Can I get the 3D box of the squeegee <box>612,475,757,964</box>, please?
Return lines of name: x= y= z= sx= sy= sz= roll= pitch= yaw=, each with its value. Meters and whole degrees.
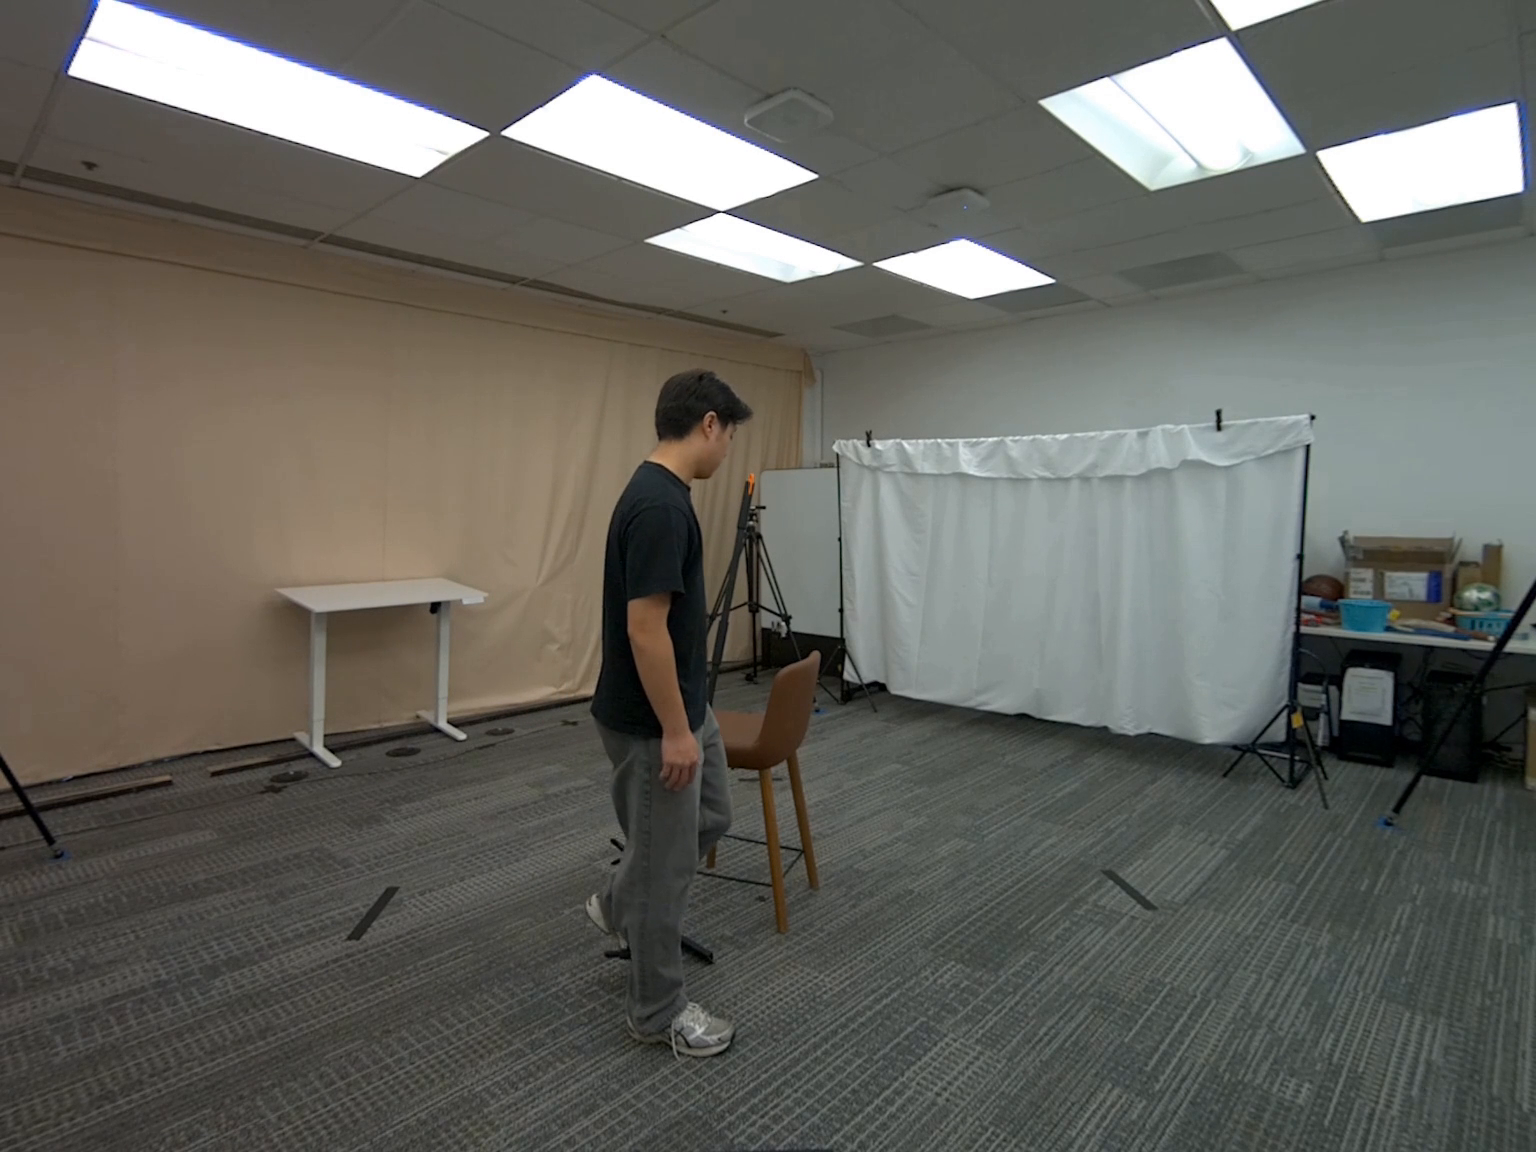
squeegee: x=-0.203 y=0.412 z=2.774 sx=0.452 sy=1.542 sz=0.051 roll=2 pitch=-10 yaw=46
